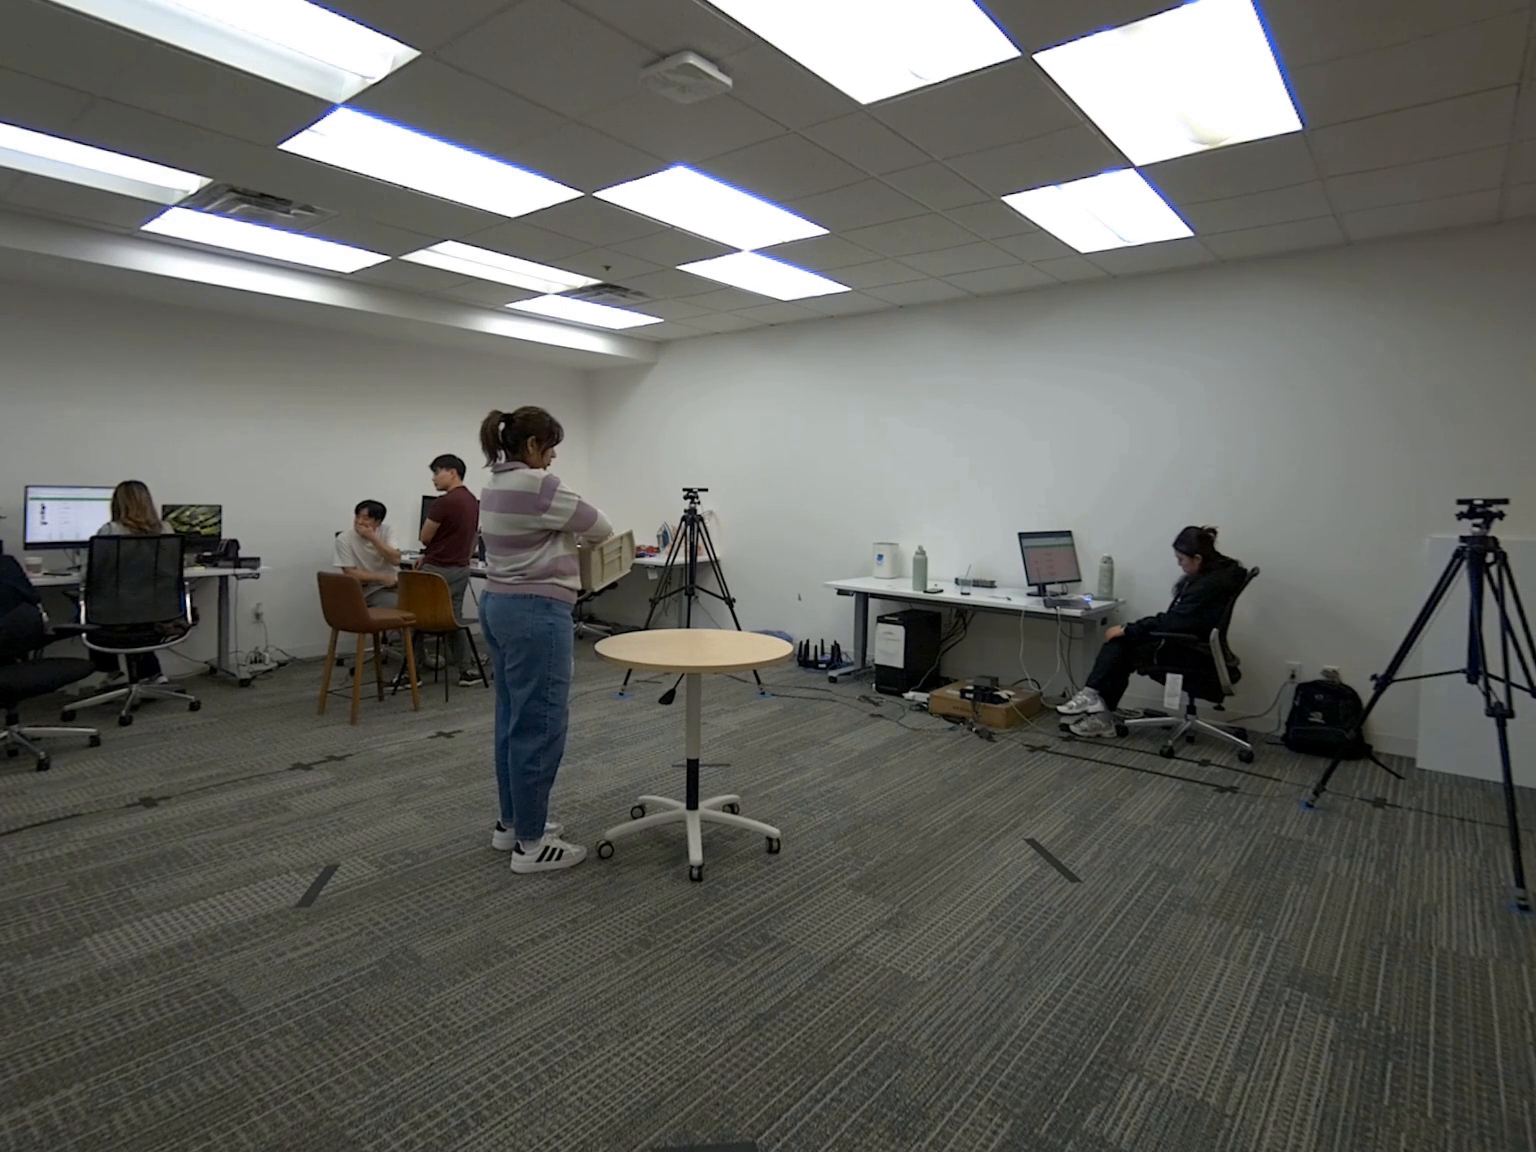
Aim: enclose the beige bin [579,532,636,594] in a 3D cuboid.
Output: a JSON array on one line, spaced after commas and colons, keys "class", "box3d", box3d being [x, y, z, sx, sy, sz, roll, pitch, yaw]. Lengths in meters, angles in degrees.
[{"class": "beige bin", "box3d": [-0.820, -0.090, 3.483, 0.431, 0.186, 0.375, 3, 16, 17]}]
